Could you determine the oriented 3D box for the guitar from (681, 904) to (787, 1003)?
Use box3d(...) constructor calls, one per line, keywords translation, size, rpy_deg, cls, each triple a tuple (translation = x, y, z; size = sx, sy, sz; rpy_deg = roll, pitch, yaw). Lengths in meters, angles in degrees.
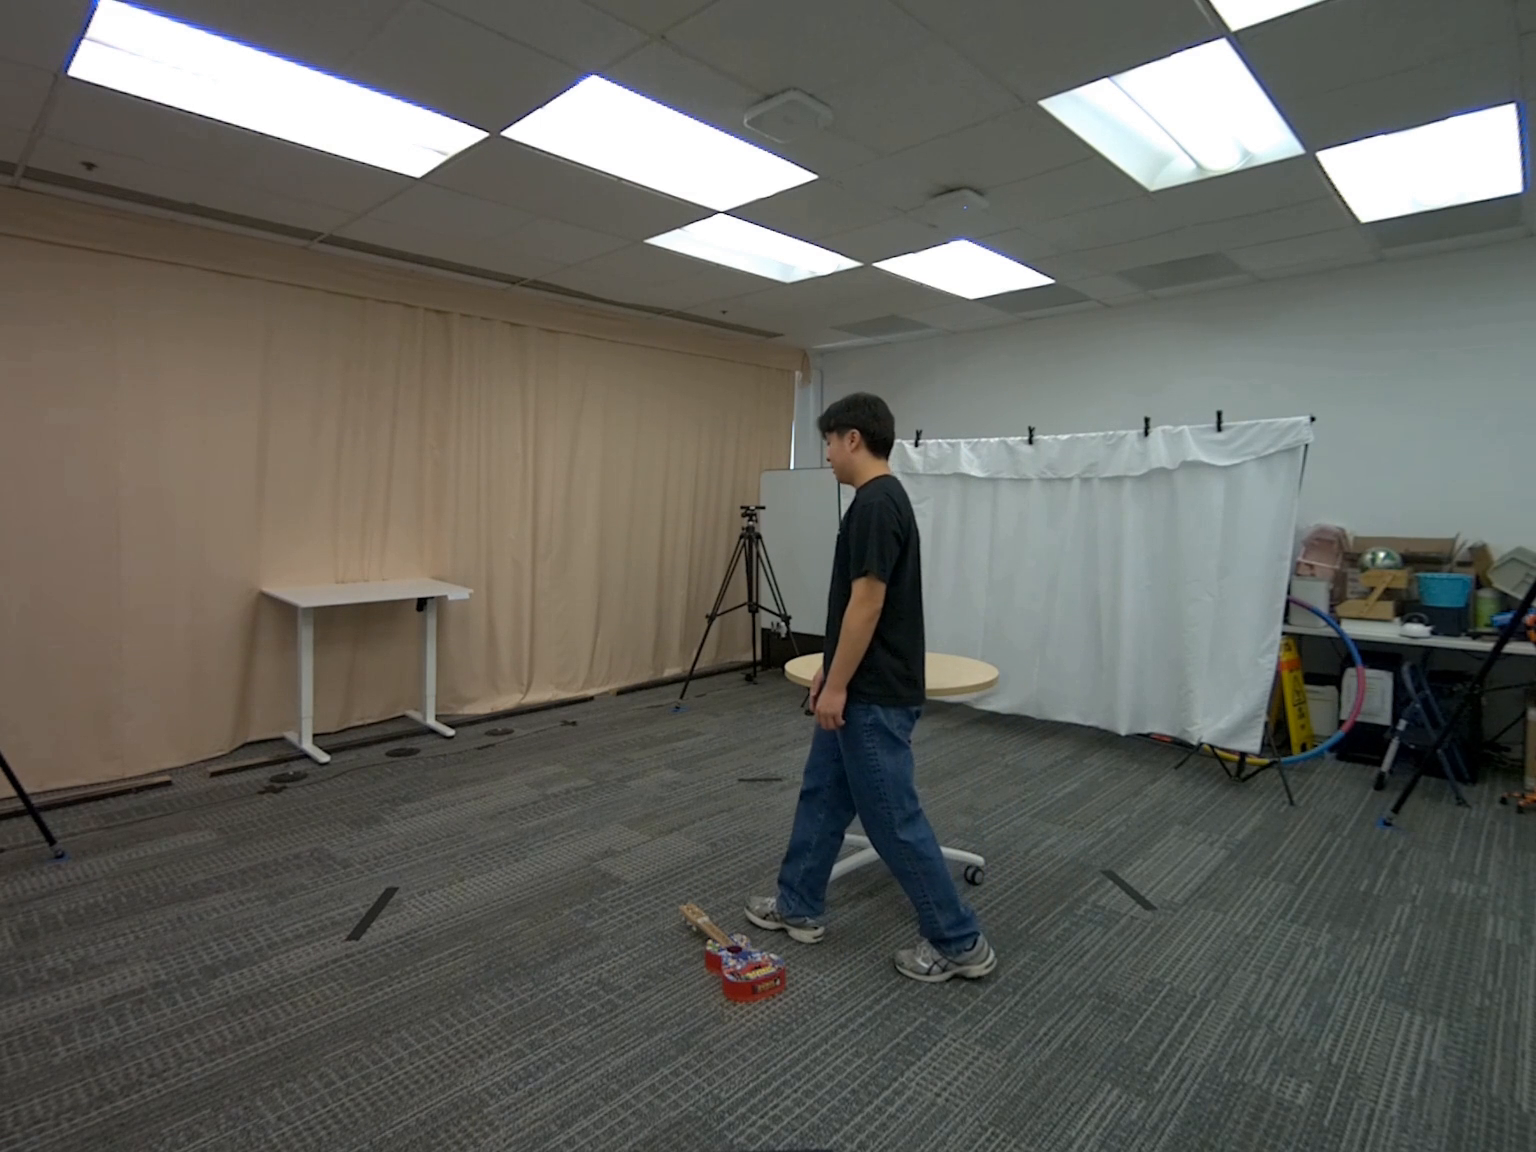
box3d(translation=(-0.114, 1.143, 2.606), size=(0.189, 0.070, 0.510), rpy_deg=(-3, 6, -24), cls="guitar")
